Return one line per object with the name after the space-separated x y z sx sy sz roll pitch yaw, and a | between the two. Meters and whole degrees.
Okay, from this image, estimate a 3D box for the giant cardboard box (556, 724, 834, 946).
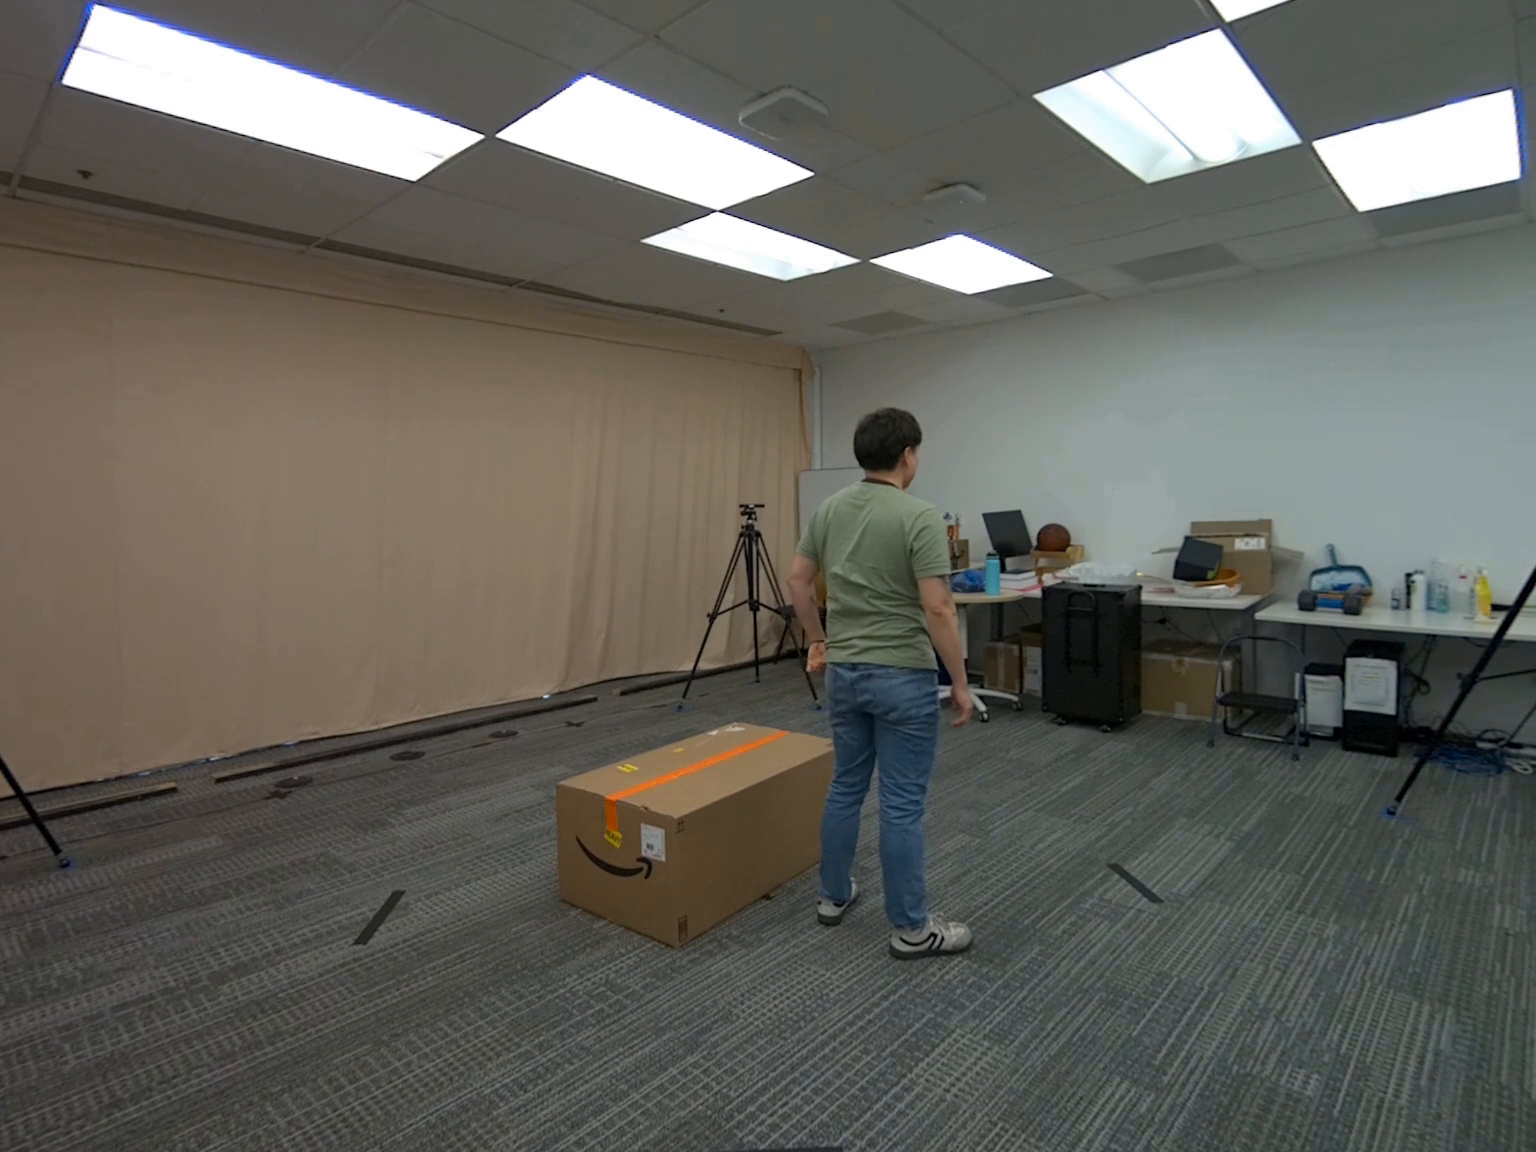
-0.215 0.913 3.201 0.596 0.425 0.996 1 5 38 | giant cardboard box
